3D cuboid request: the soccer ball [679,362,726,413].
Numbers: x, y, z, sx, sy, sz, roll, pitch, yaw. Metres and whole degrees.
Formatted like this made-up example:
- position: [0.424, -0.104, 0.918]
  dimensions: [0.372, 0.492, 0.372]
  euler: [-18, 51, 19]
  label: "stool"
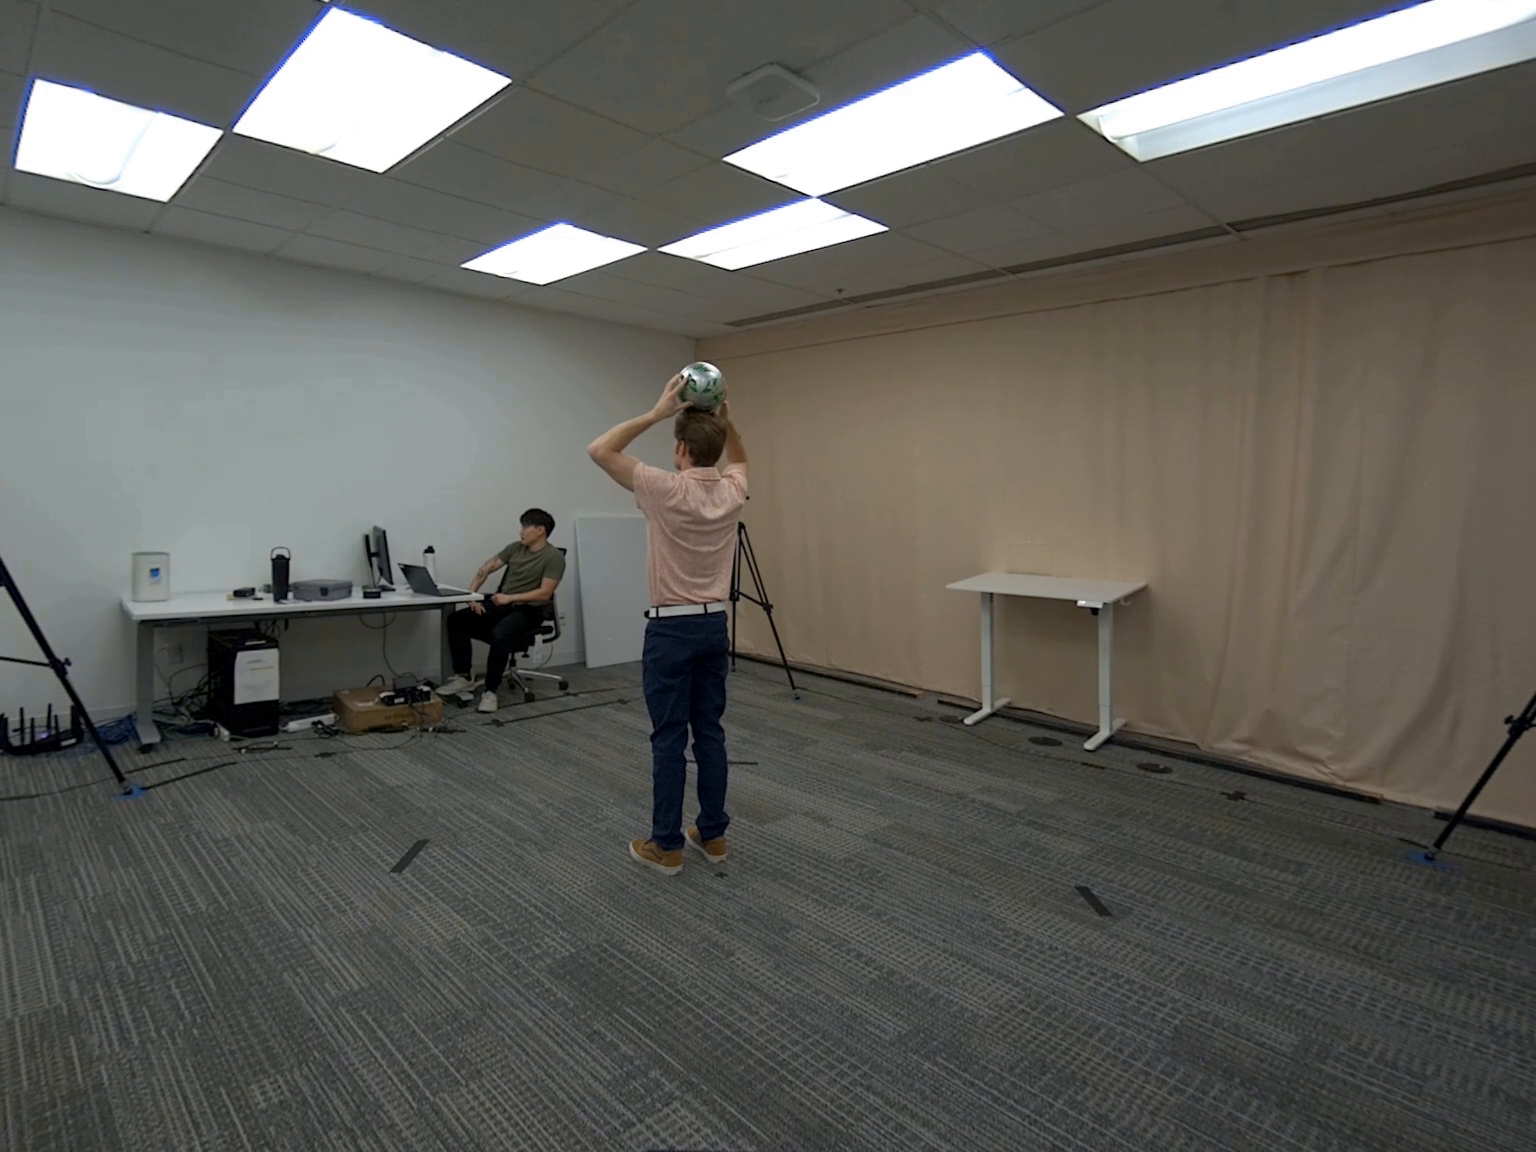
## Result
- position: [-0.258, -0.692, 3.124]
  dimensions: [0.187, 0.187, 0.188]
  euler: [1, 4, -1]
  label: "soccer ball"
